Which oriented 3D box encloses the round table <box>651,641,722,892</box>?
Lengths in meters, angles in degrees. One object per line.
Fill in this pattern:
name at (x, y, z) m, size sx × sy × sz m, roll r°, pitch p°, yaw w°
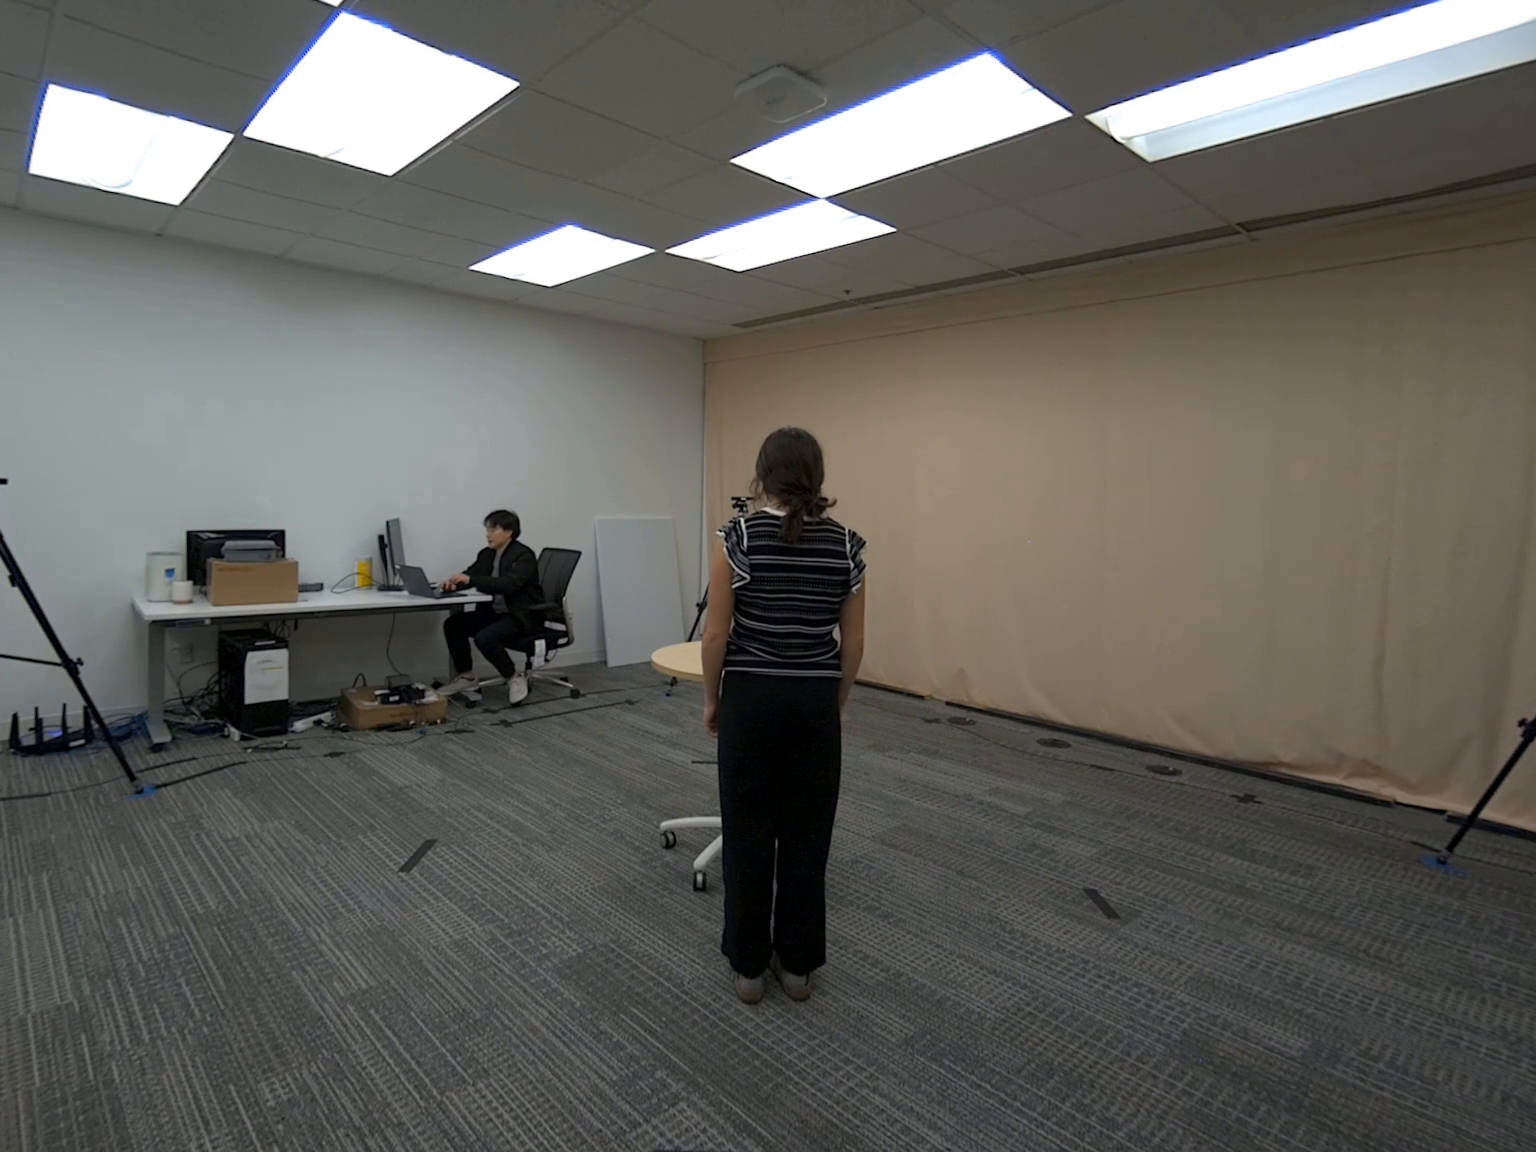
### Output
round table at (-0.084, 0.710, 3.272) m, size 0.763 × 0.792 × 0.767 m, roll 2°, pitch 4°, yaw -1°
